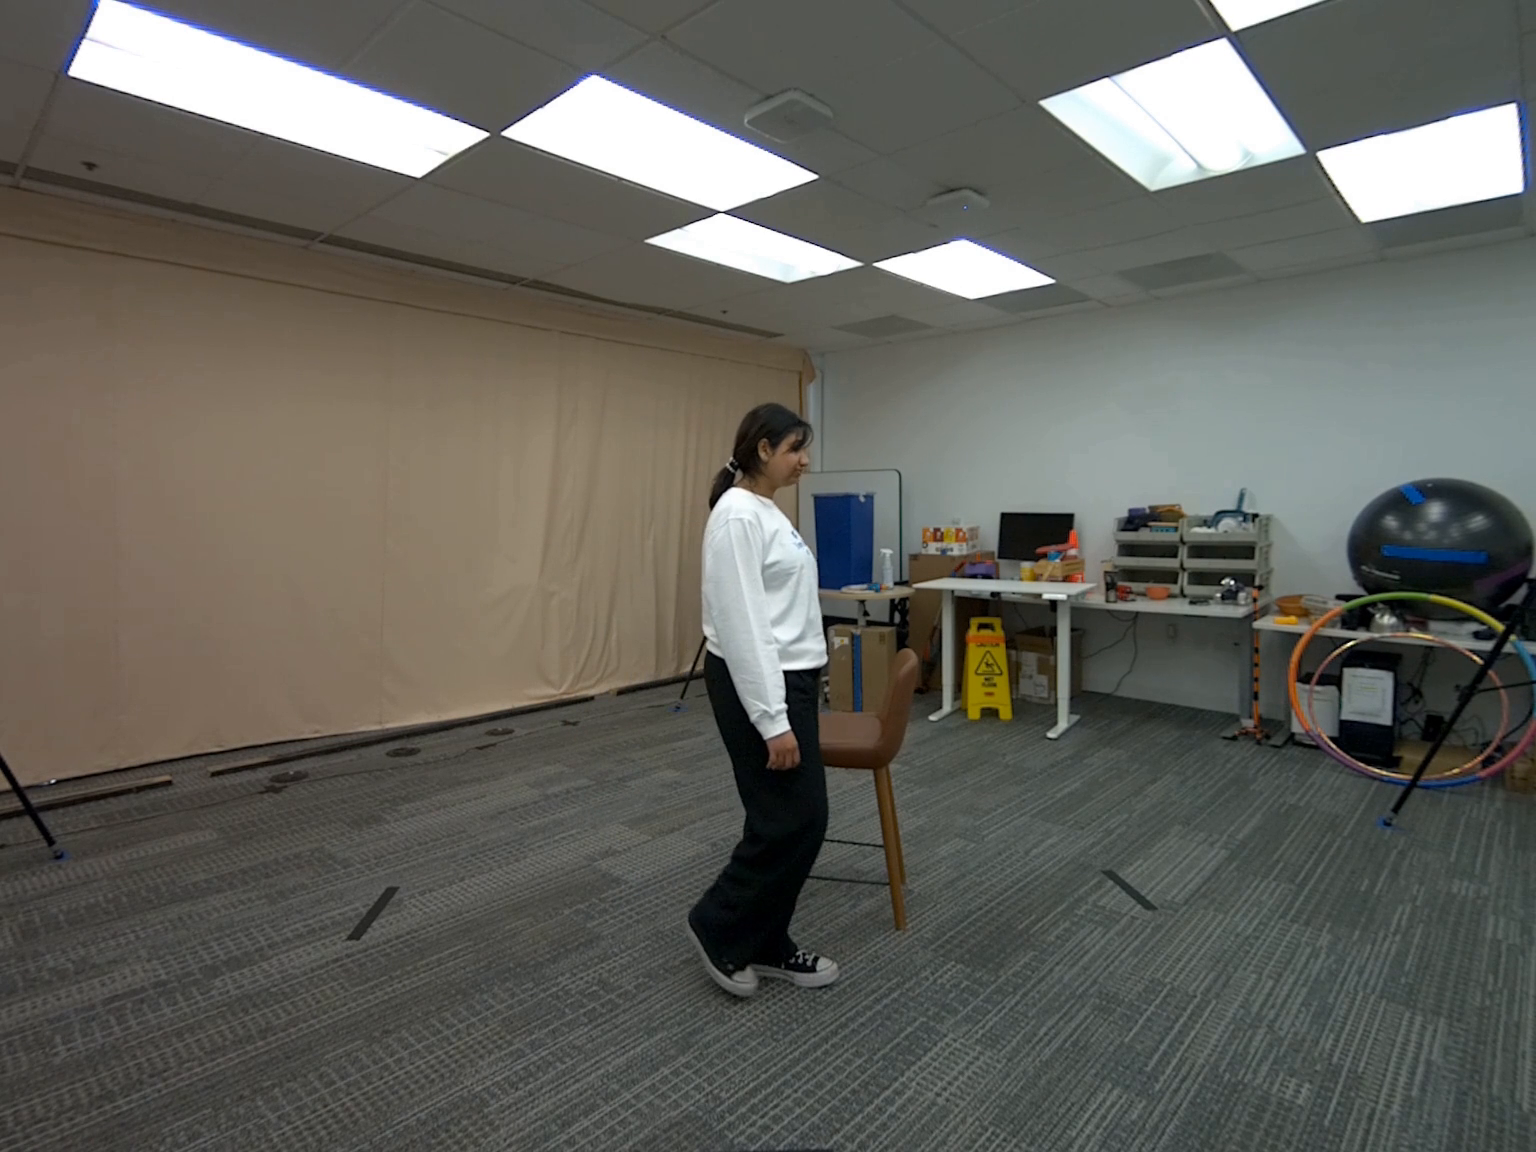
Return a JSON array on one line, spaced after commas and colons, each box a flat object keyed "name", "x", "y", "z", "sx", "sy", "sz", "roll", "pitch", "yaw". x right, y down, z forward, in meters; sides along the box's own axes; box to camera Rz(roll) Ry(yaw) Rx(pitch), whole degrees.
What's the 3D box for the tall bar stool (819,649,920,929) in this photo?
[{"name": "tall bar stool", "x": 0.271, "y": 0.709, "z": 2.963, "sx": 0.474, "sy": 0.888, "sz": 0.451, "roll": 2, "pitch": 4, "yaw": 12}]
